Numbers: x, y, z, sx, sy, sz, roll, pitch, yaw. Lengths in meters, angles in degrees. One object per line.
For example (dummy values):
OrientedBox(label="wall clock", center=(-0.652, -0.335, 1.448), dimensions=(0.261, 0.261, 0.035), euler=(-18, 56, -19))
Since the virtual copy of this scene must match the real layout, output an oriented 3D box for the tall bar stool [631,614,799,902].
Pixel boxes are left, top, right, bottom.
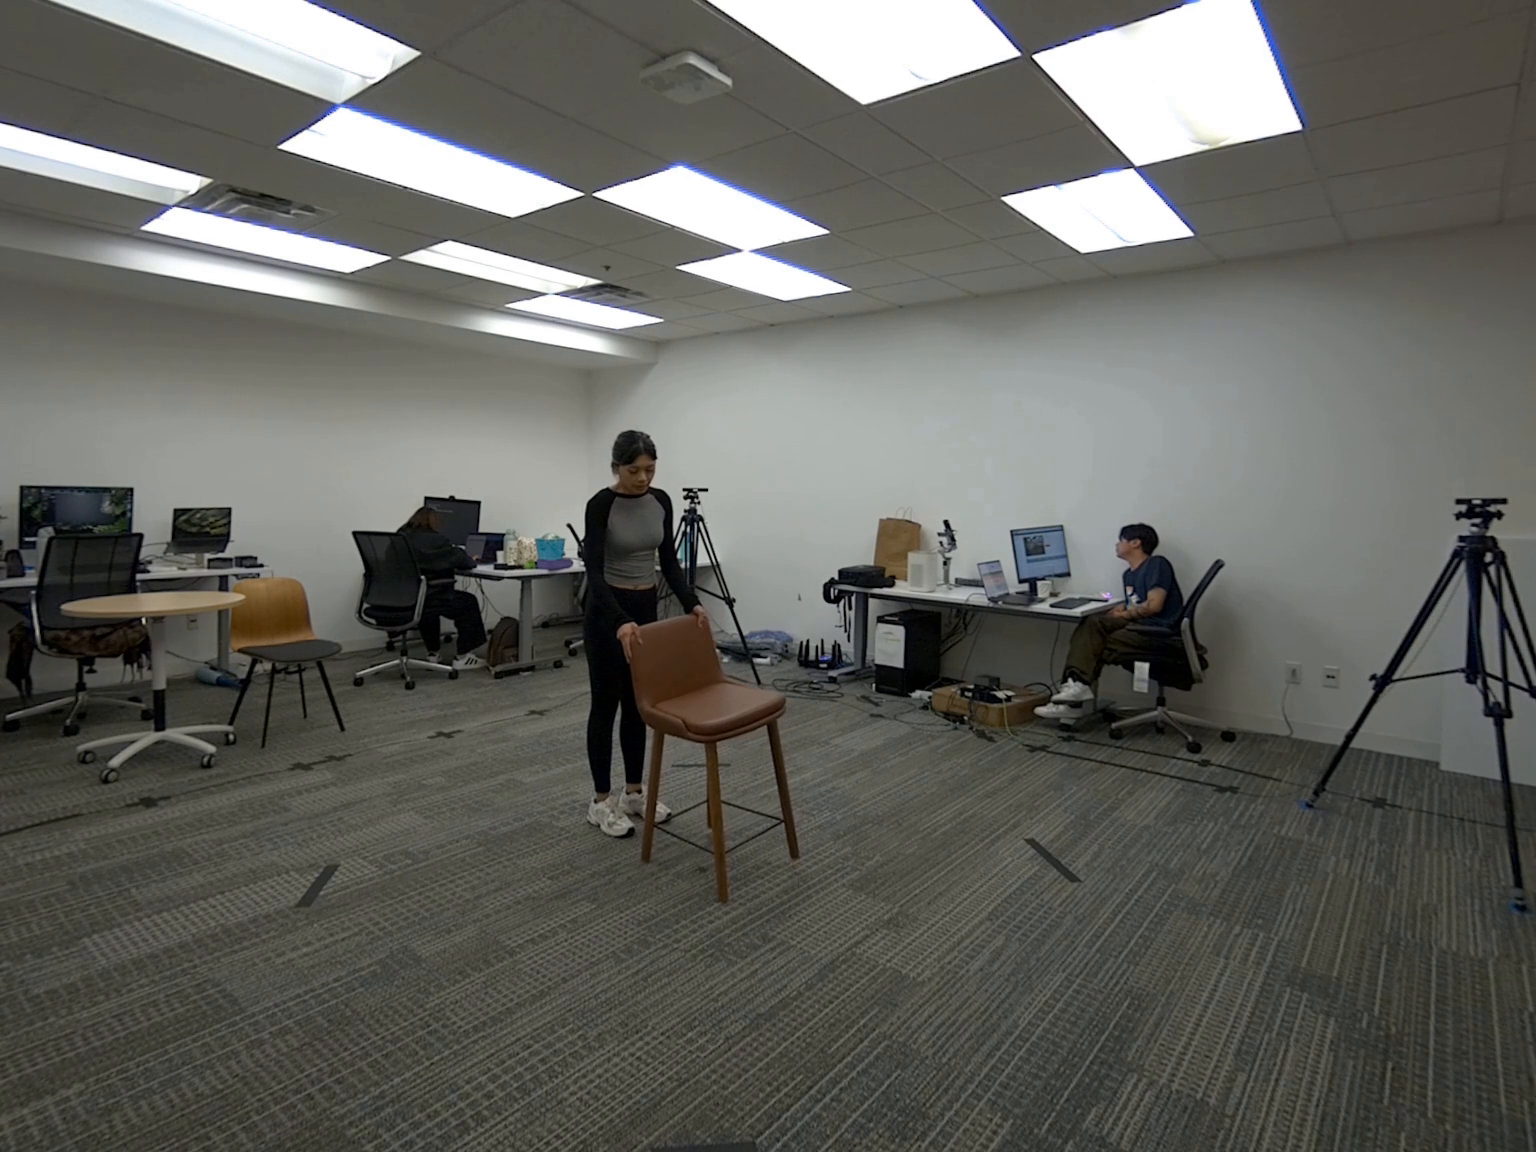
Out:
OrientedBox(label="tall bar stool", center=(-0.220, 0.616, 3.112), dimensions=(0.482, 0.885, 0.444), euler=(0, 7, 43))
